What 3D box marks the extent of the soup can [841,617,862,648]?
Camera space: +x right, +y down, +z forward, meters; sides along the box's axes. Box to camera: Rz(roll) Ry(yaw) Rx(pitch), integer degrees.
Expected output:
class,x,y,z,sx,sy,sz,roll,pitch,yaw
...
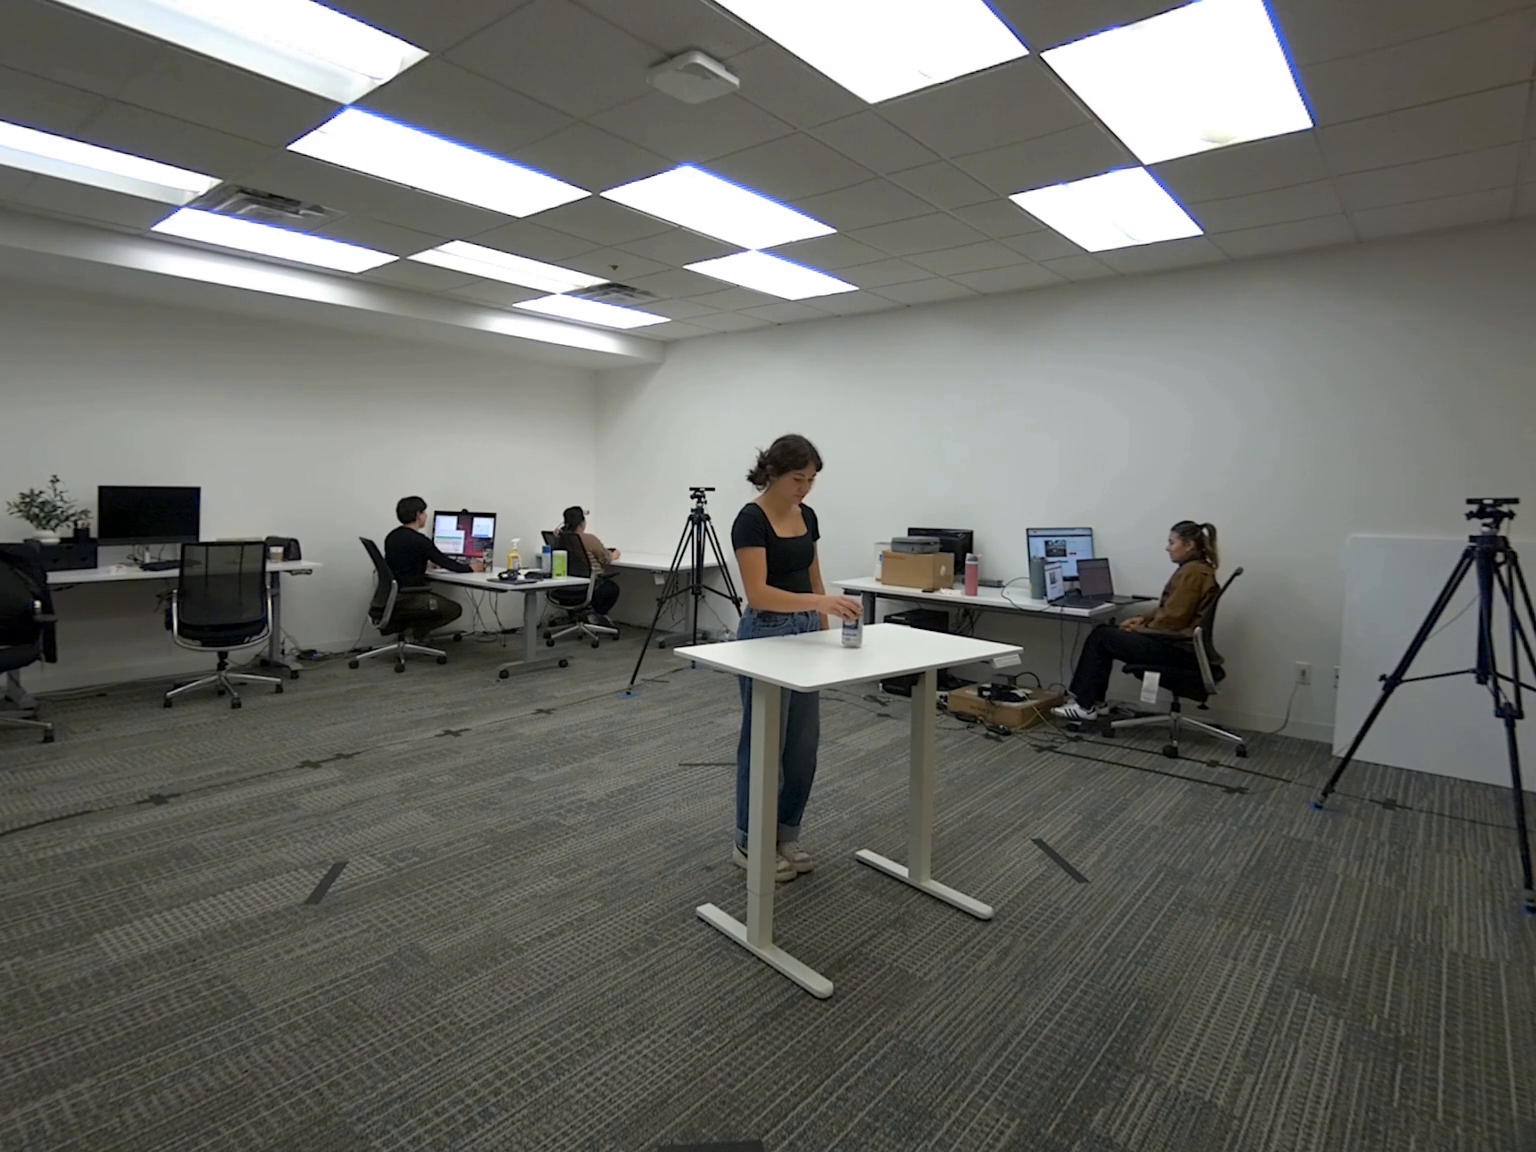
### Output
class,x,y,z,sx,sy,sz,roll,pitch,yaw
soup can,0.266,0.159,2.771,0.067,0.121,0.067,2,4,-2
